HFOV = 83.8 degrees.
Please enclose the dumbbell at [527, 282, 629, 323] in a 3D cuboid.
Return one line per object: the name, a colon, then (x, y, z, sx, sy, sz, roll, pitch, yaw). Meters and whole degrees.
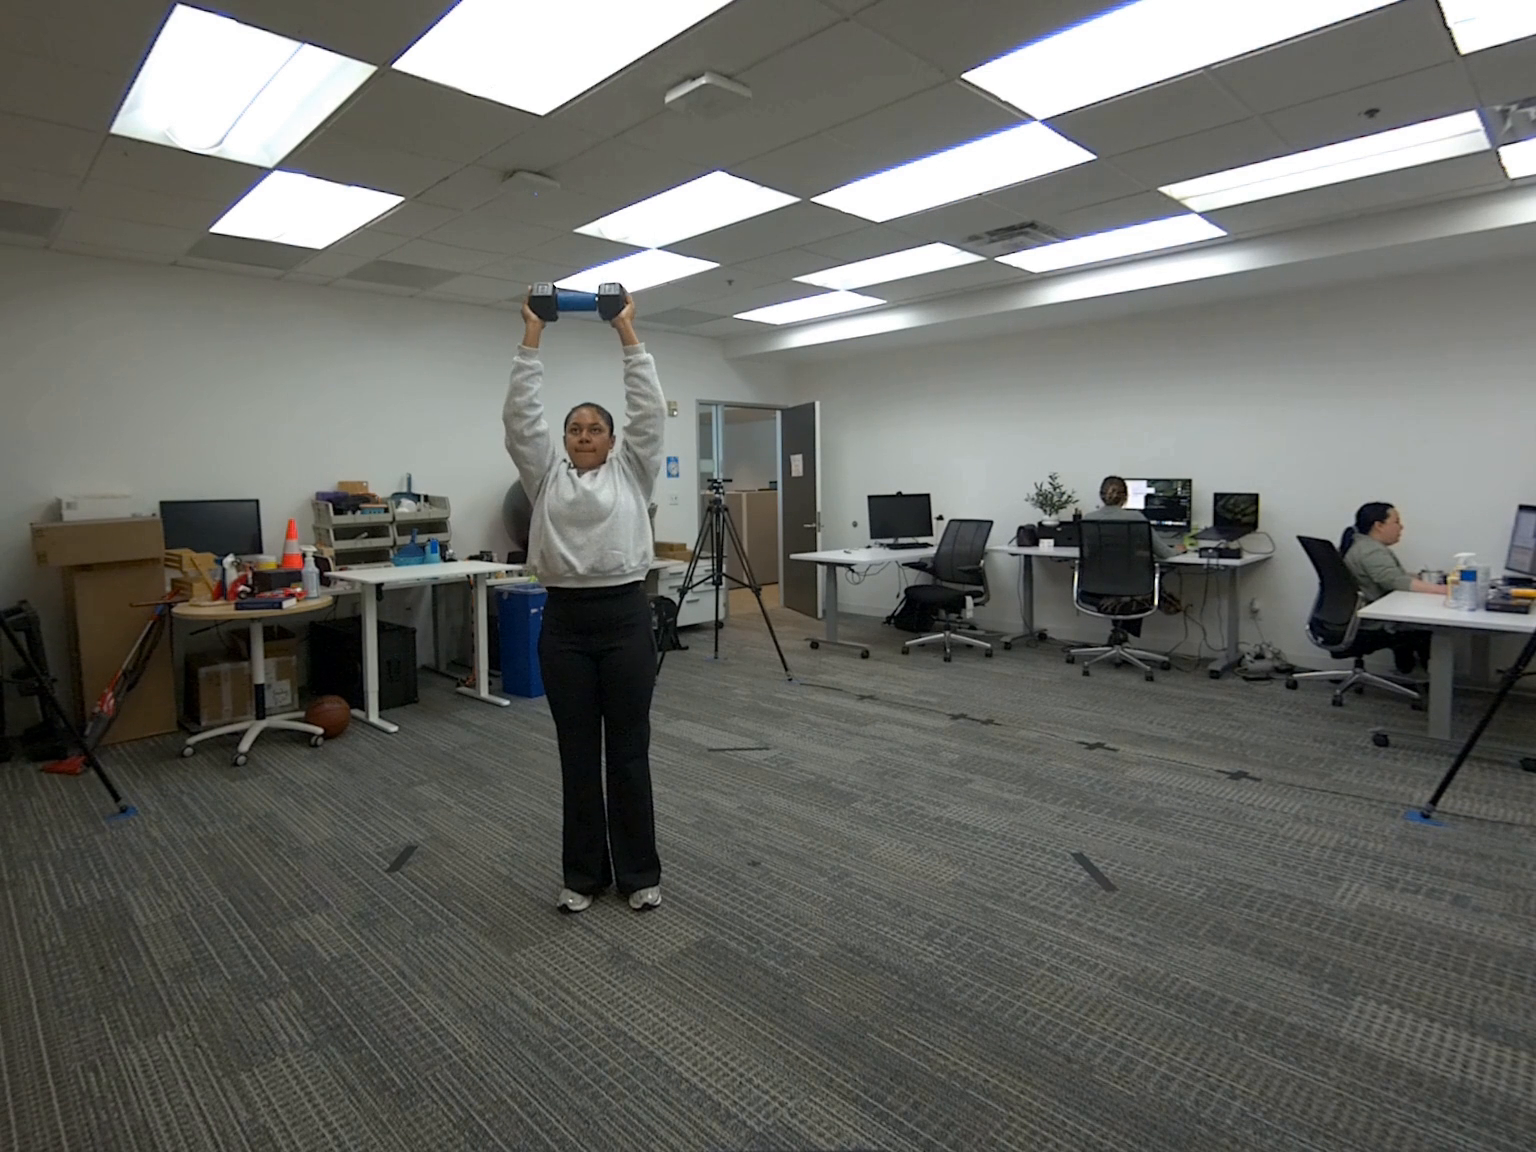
dumbbell: (-0.598, -0.873, 2.729, 0.293, 0.120, 0.111, -1, 30, -1)
